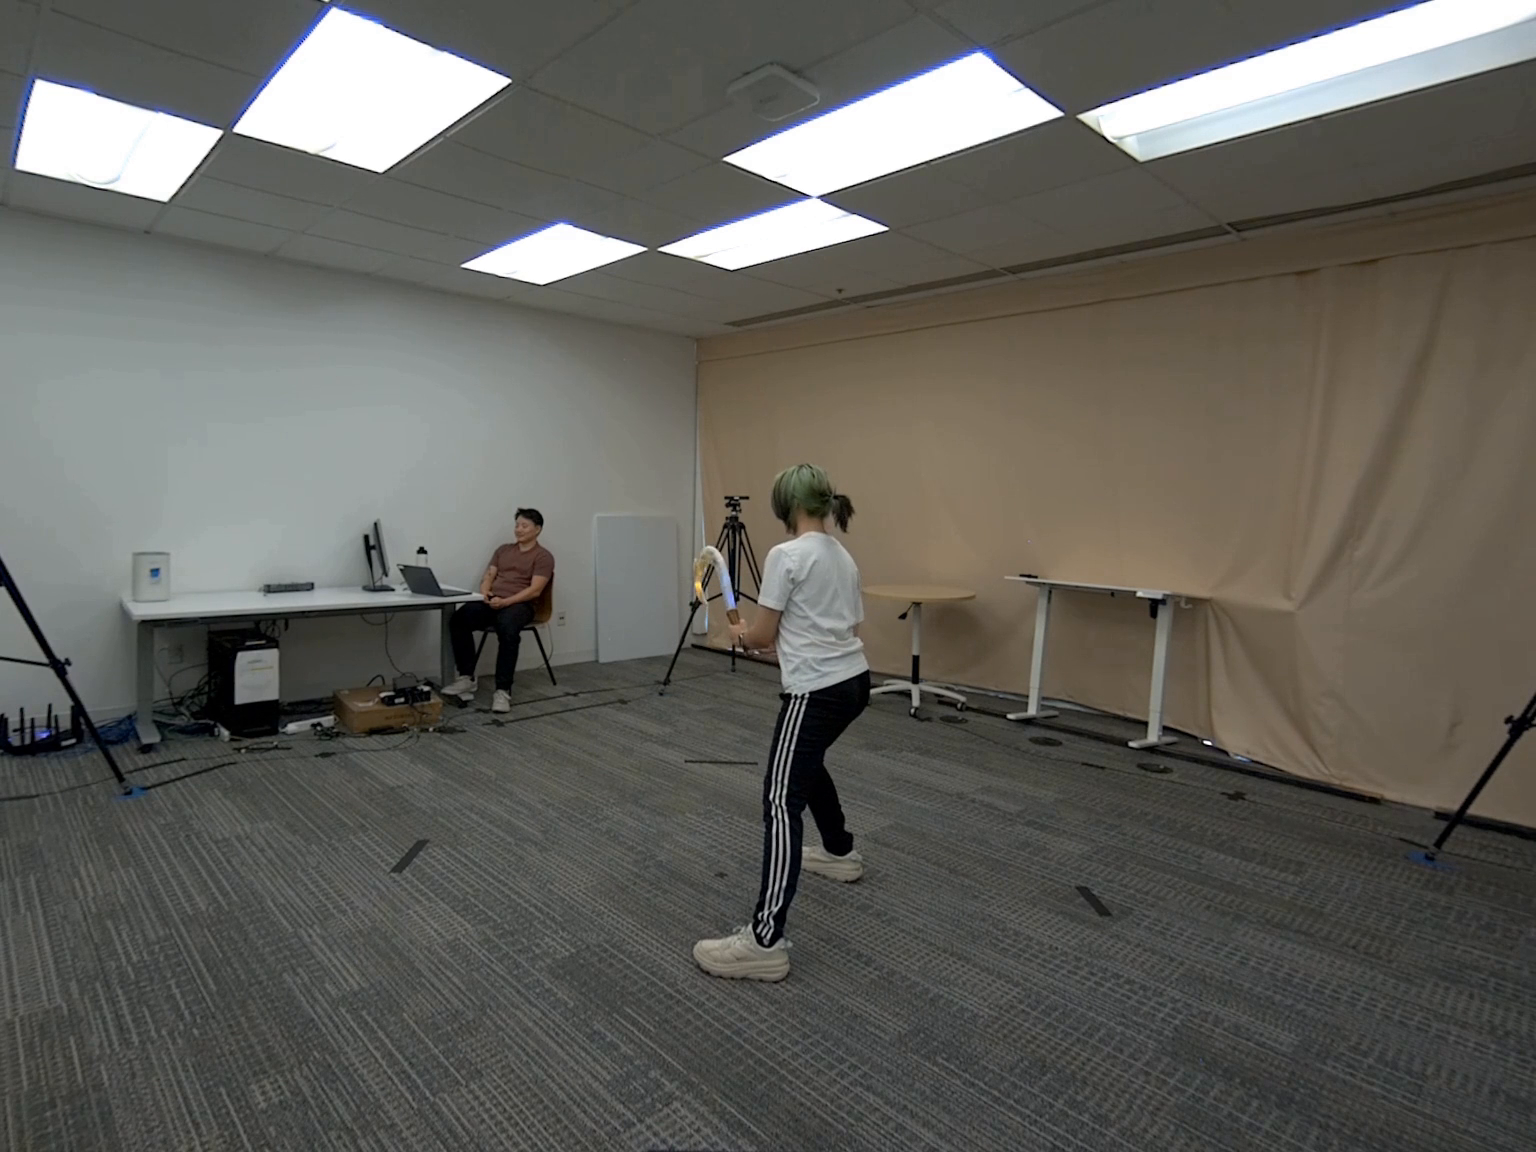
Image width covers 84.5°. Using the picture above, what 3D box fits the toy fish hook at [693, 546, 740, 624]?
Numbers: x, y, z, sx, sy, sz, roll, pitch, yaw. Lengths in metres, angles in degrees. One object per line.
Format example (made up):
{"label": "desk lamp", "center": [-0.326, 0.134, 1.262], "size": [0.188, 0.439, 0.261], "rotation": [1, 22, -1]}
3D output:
{"label": "toy fish hook", "center": [-0.190, 0.114, 3.272], "size": [0.047, 0.520, 0.223], "rotation": [-4, -35, -32]}
